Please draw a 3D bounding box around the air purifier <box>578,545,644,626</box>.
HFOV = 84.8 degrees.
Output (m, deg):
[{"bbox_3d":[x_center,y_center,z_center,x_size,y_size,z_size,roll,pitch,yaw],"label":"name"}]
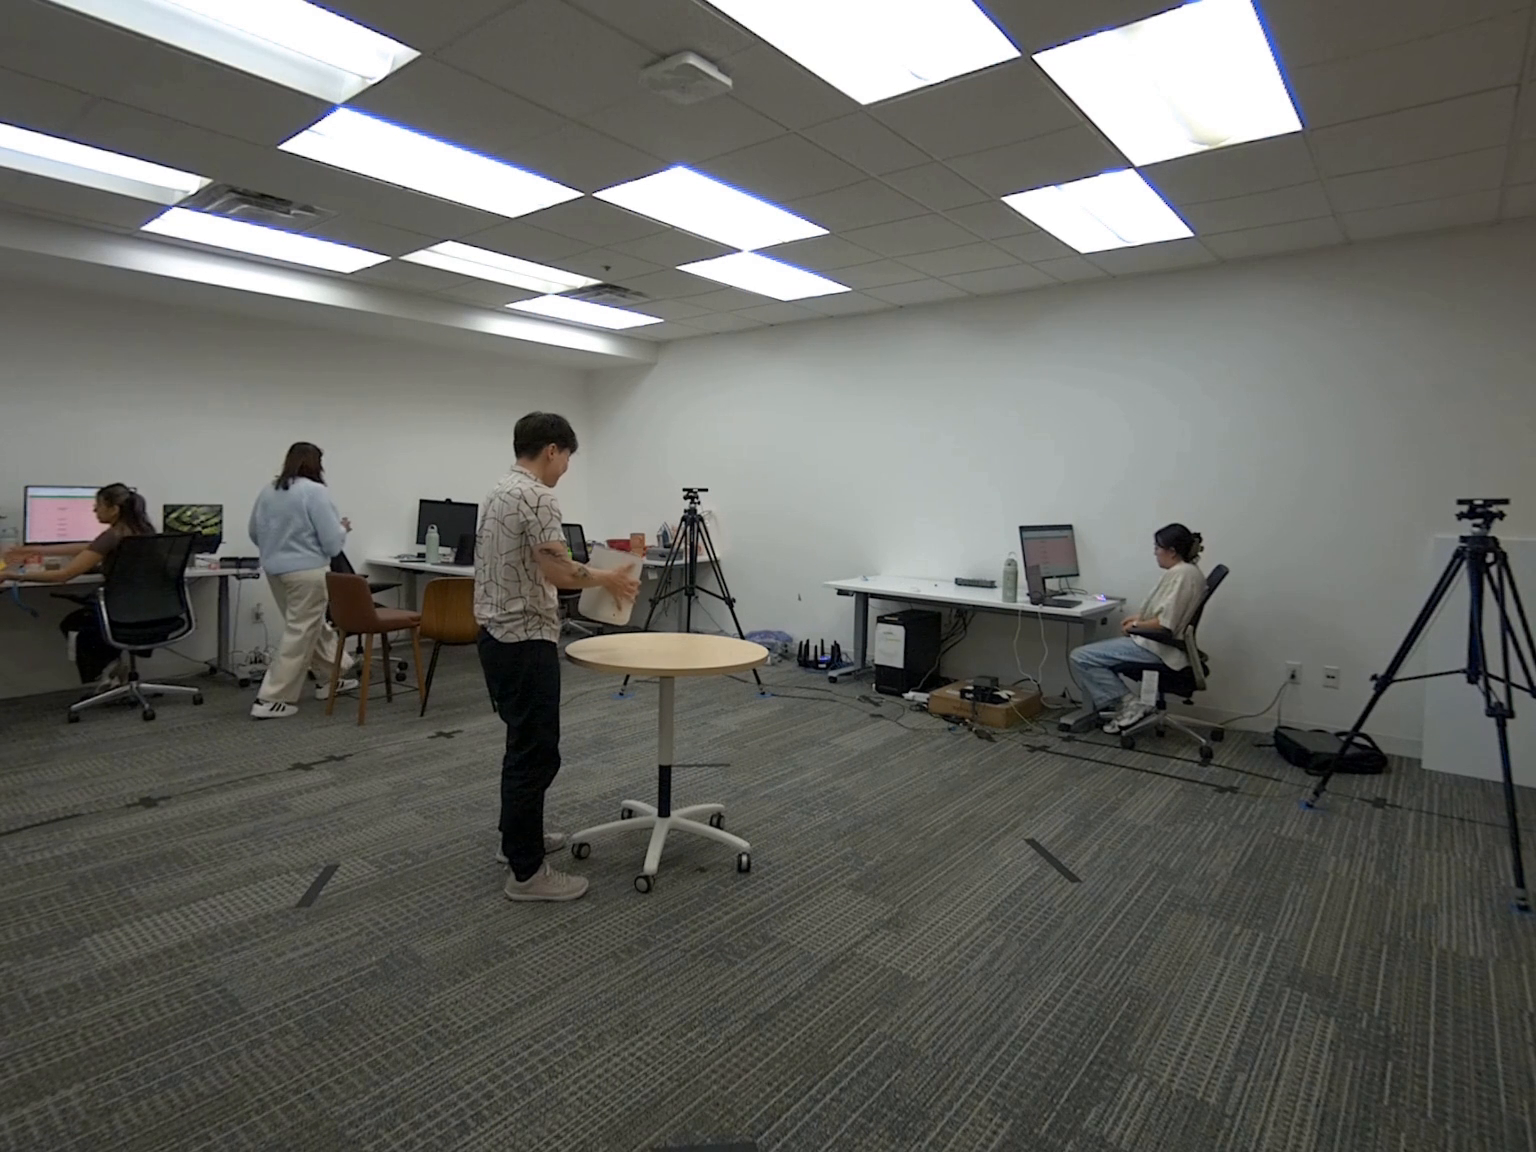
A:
[{"bbox_3d":[-0.602,0.034,3.161,0.165,0.266,0.177,15,-3,-38],"label":"air purifier"}]
